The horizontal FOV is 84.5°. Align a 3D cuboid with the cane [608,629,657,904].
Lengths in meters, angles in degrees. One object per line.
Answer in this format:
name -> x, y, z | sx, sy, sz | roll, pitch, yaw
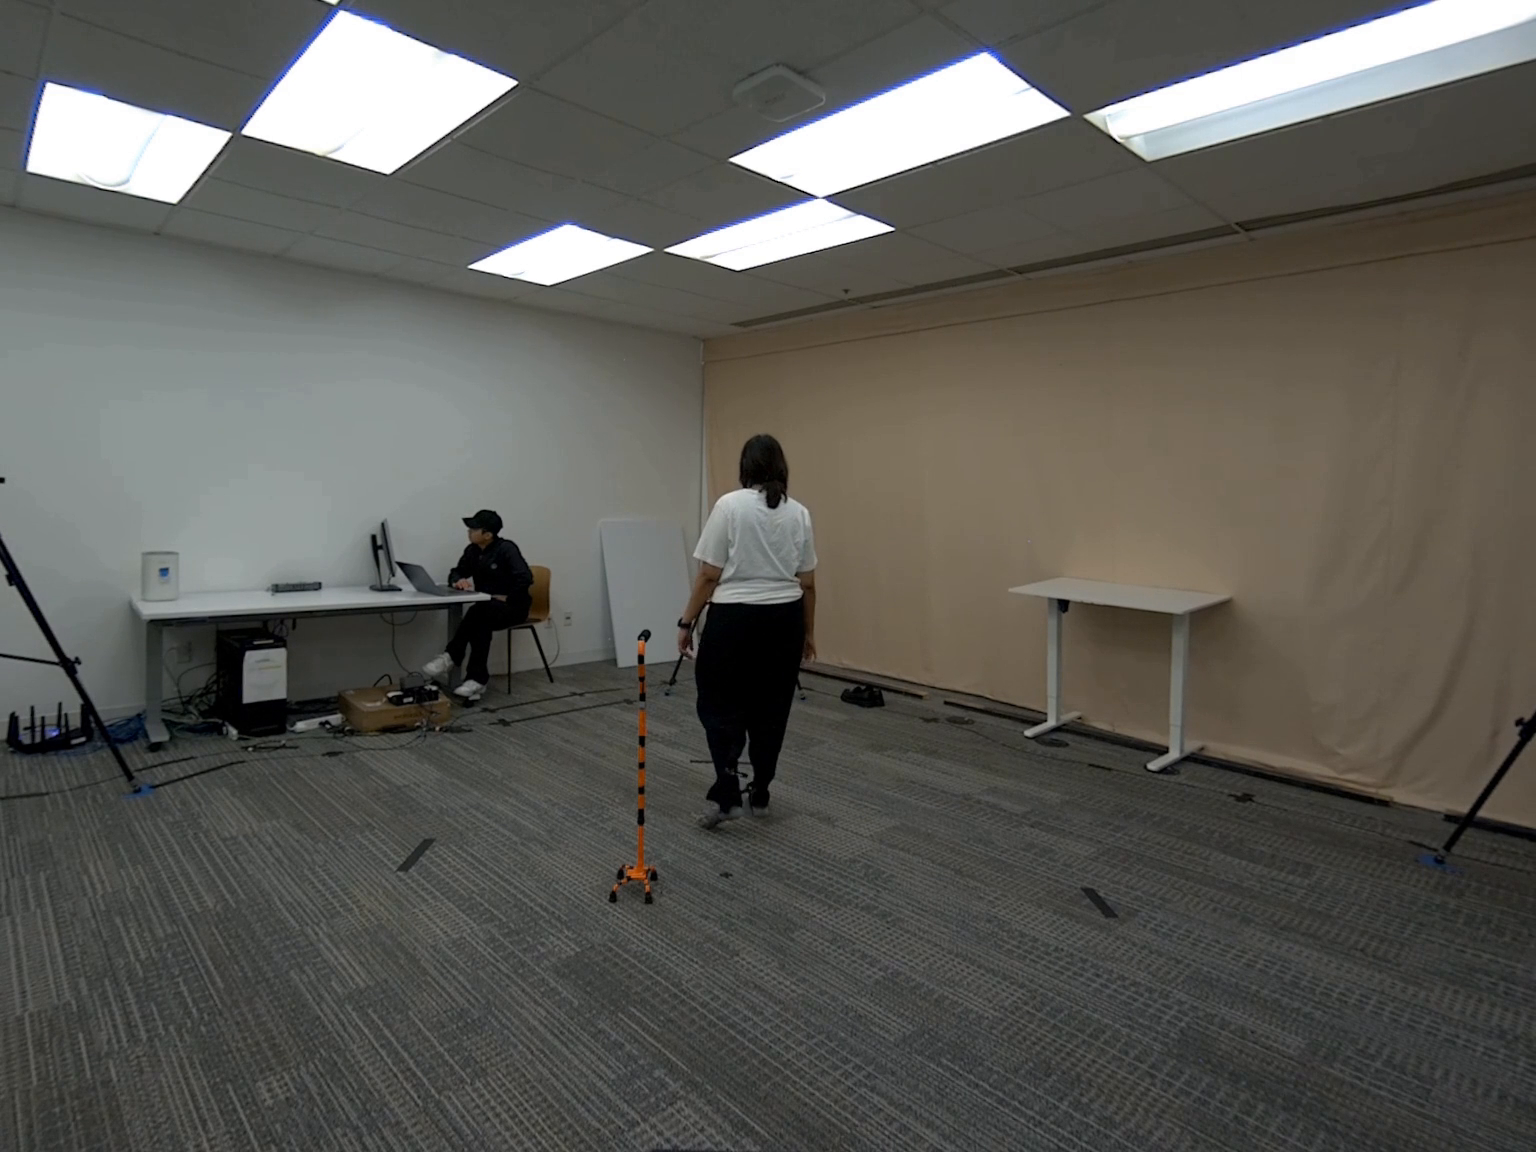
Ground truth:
cane -> -0.466, 0.662, 2.945 | 0.152, 0.906, 0.207 | 2, 3, 0
